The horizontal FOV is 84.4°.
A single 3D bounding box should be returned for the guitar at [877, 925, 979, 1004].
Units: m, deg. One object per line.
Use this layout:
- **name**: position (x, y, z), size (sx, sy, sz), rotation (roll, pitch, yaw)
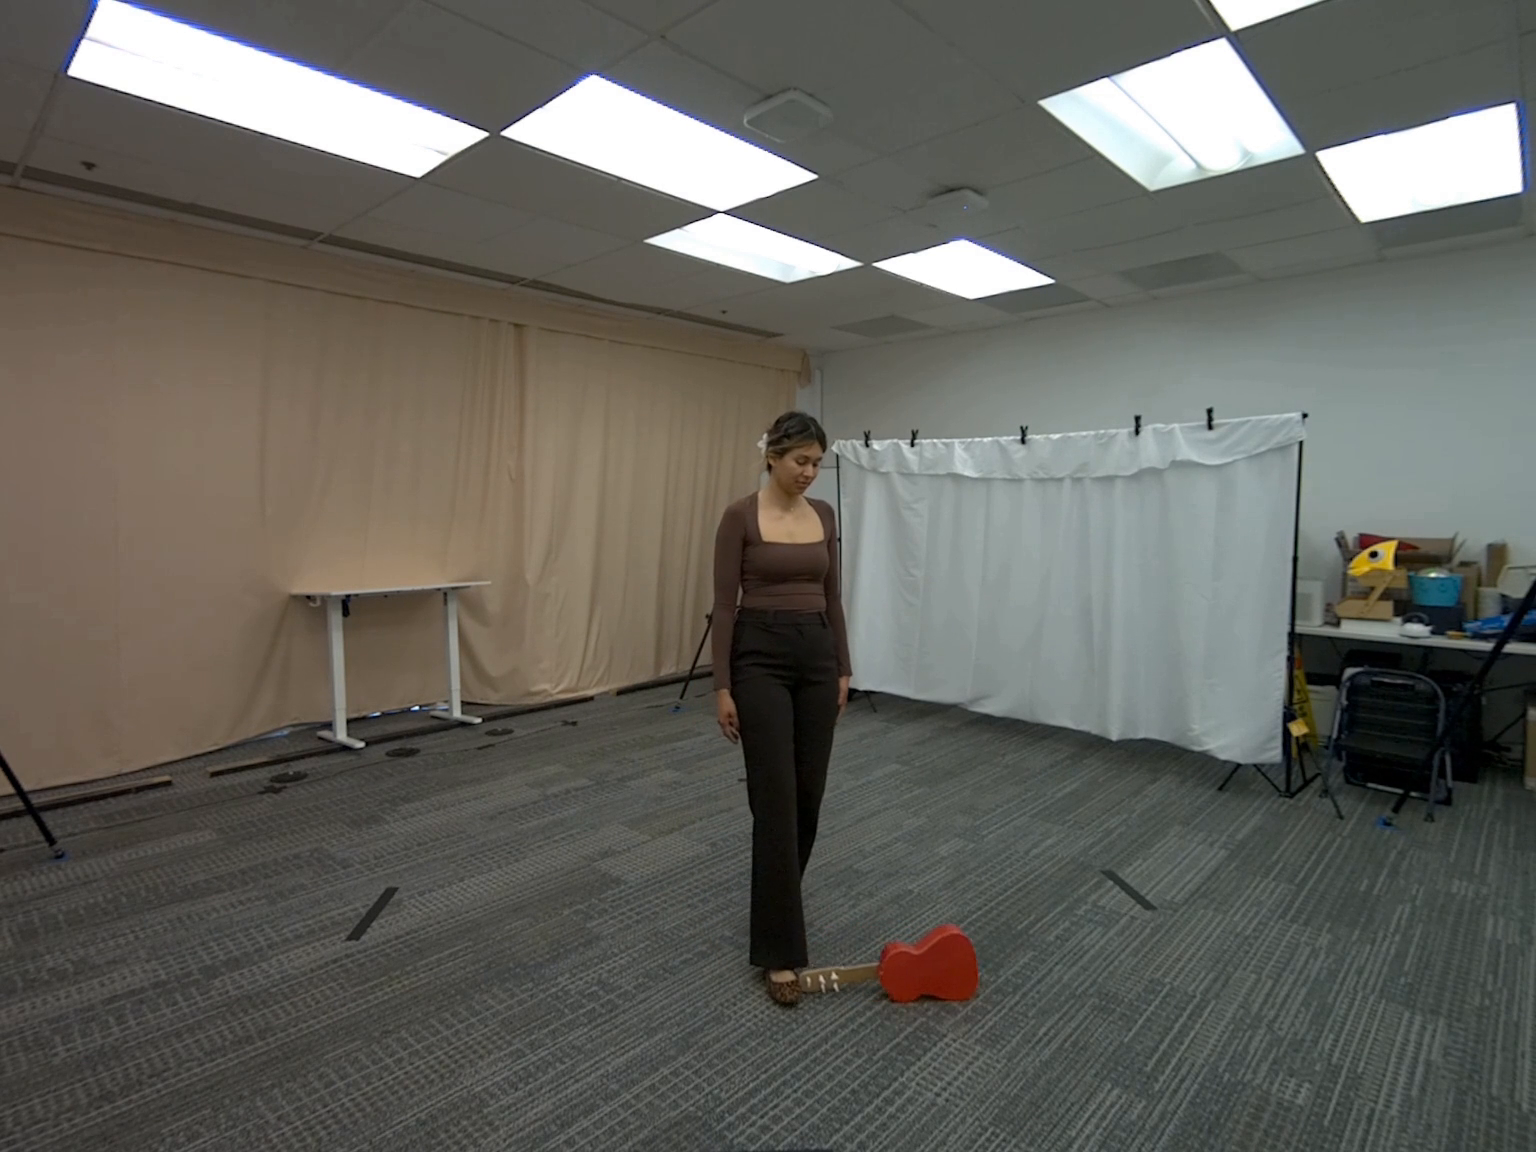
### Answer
- **guitar**: position (0.355, 1.151, 2.382), size (0.497, 0.192, 0.071), rotation (-17, 3, -1)
